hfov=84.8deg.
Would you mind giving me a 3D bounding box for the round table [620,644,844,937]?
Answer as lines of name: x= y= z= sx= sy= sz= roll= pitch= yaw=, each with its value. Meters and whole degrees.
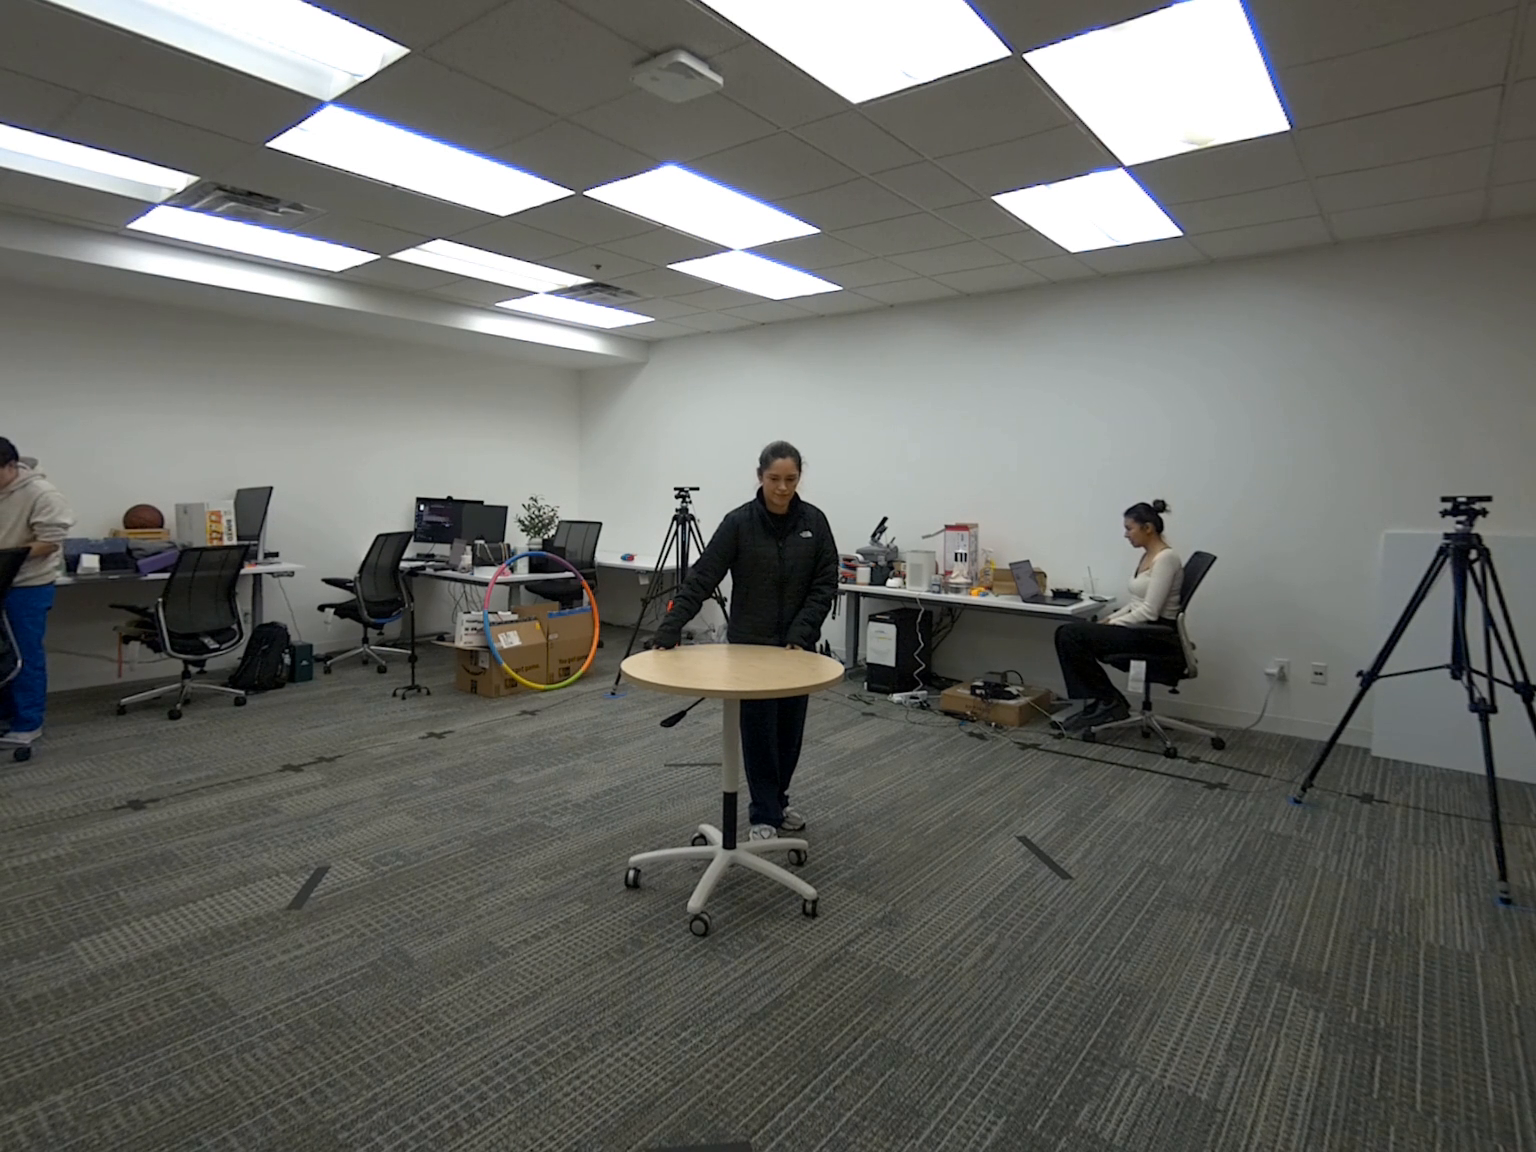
round table: x=-0.132 y=0.690 z=2.963 sx=0.784 sy=0.784 sz=0.789 roll=1 pitch=4 yaw=-2
